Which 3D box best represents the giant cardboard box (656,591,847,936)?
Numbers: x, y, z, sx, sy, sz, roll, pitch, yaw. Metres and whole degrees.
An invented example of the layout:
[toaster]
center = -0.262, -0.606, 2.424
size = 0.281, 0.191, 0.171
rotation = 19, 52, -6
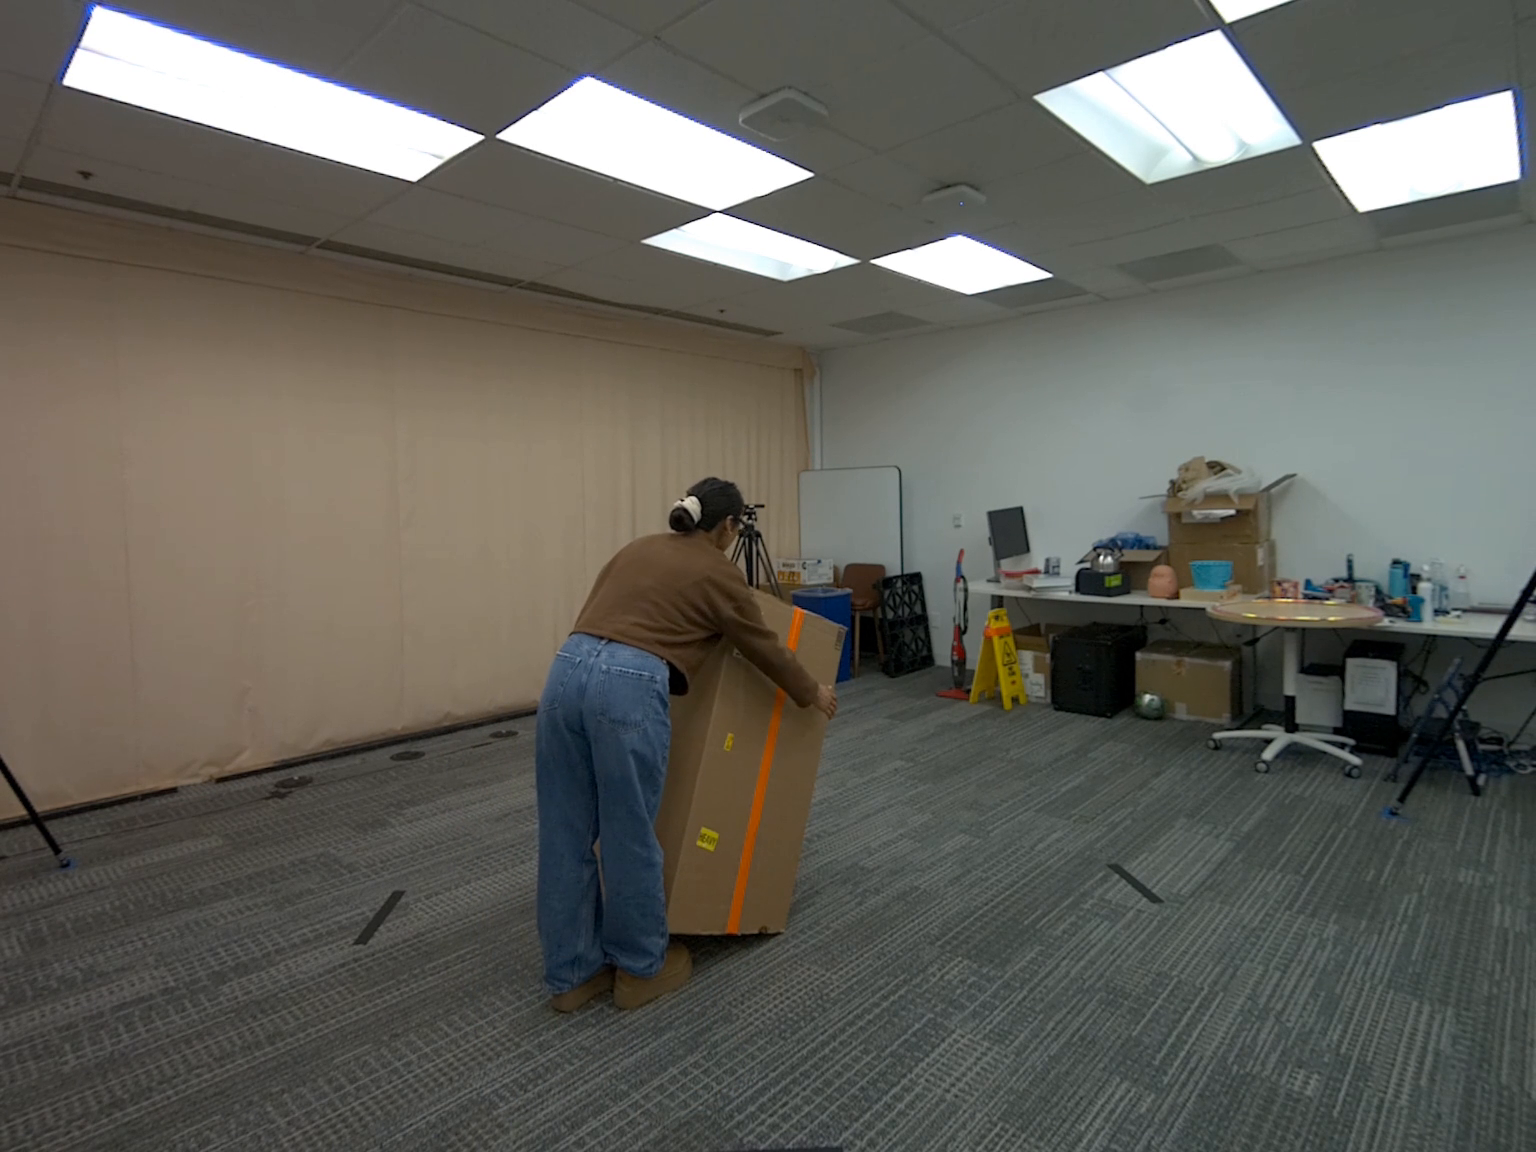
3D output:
[giant cardboard box]
center = -0.163, 0.585, 2.795
size = 0.440, 1.030, 0.556
rotation = 2, -16, 42
